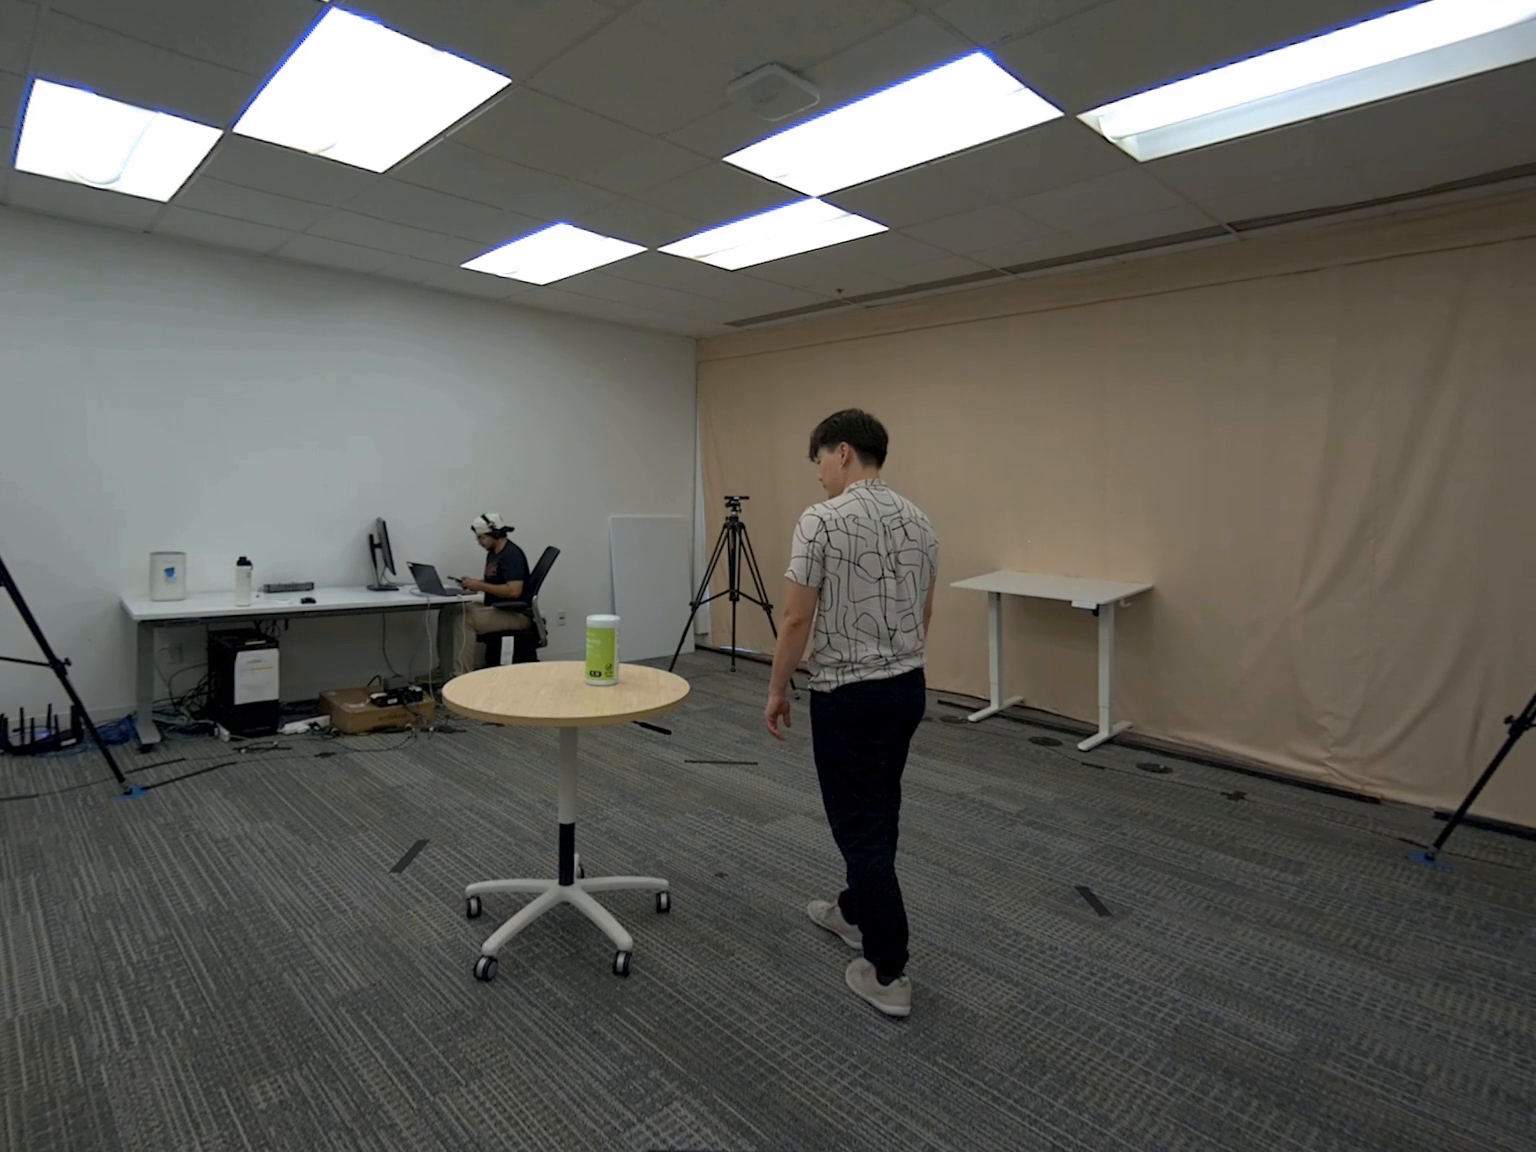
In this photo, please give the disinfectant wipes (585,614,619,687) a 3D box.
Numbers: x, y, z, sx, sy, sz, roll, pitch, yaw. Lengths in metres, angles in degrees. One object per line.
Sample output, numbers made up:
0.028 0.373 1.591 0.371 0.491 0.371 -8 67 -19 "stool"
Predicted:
-0.542 0.241 2.719 0.118 0.217 0.118 2 4 -2 "disinfectant wipes"
